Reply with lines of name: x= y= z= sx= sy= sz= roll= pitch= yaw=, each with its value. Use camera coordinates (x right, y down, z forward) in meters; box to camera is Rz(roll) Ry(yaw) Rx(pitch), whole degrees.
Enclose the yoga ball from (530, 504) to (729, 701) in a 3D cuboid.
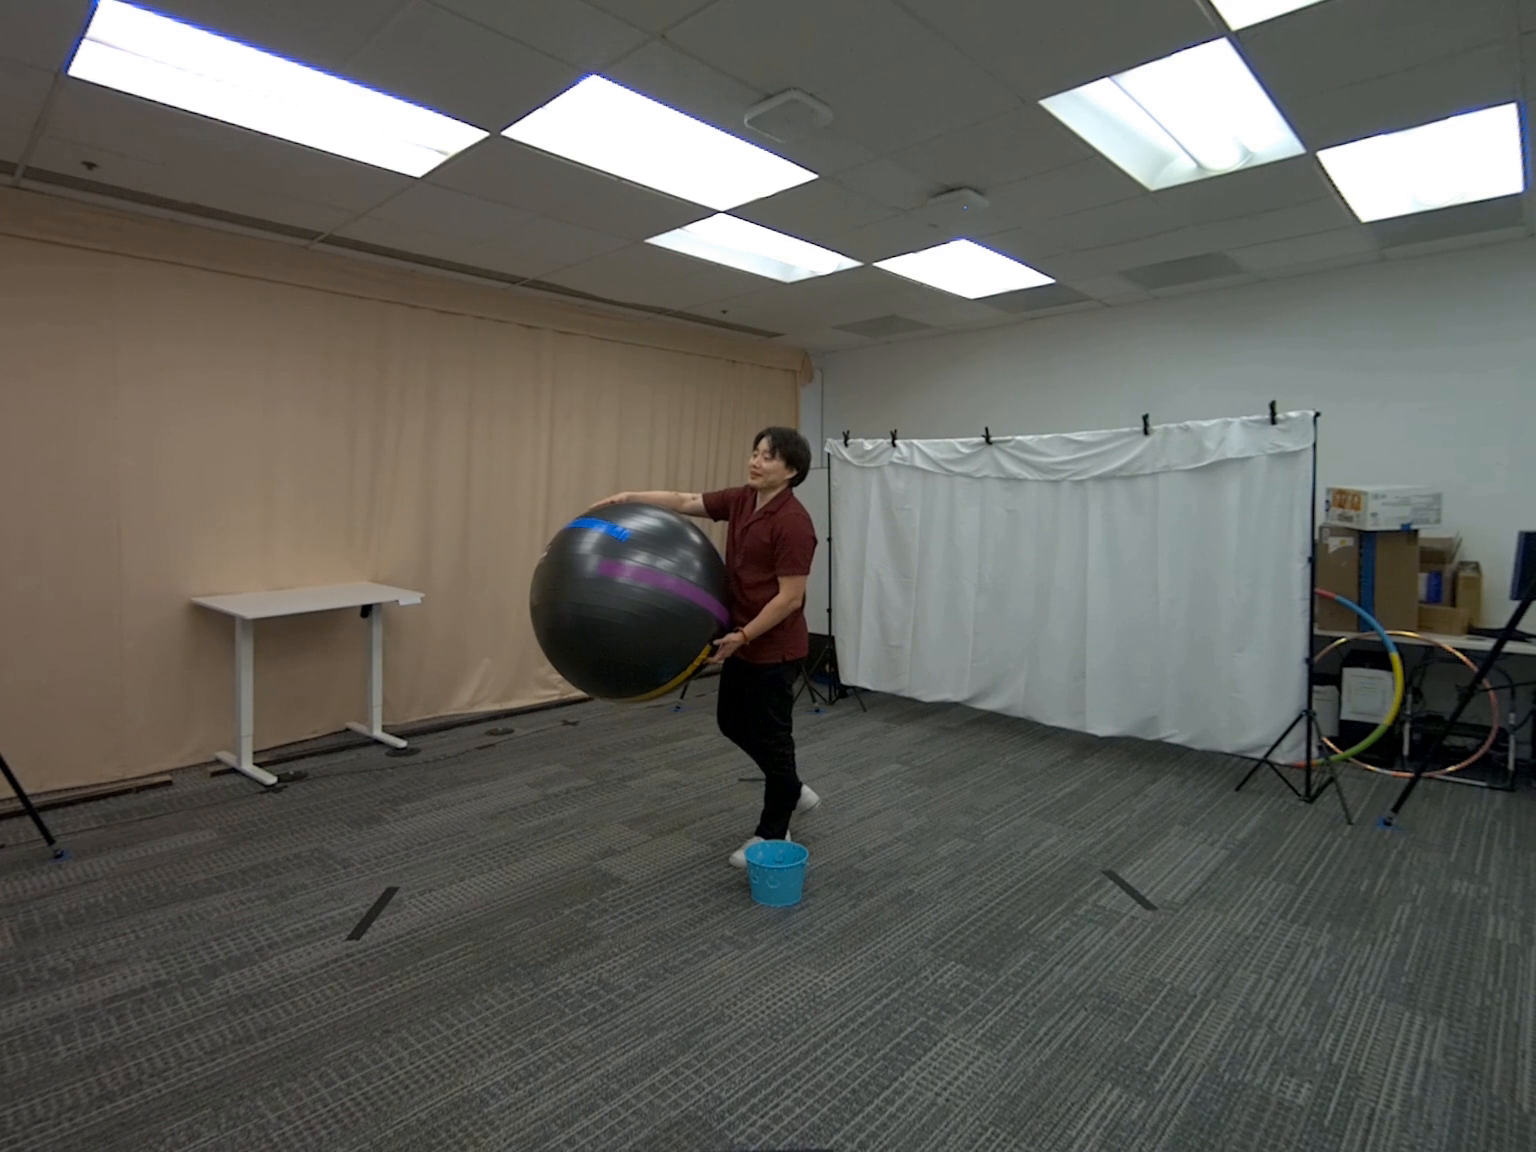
yoga ball: x=-0.528 y=0.103 z=3.210 sx=0.757 sy=0.756 sz=0.761 roll=0 pitch=4 yaw=-2
